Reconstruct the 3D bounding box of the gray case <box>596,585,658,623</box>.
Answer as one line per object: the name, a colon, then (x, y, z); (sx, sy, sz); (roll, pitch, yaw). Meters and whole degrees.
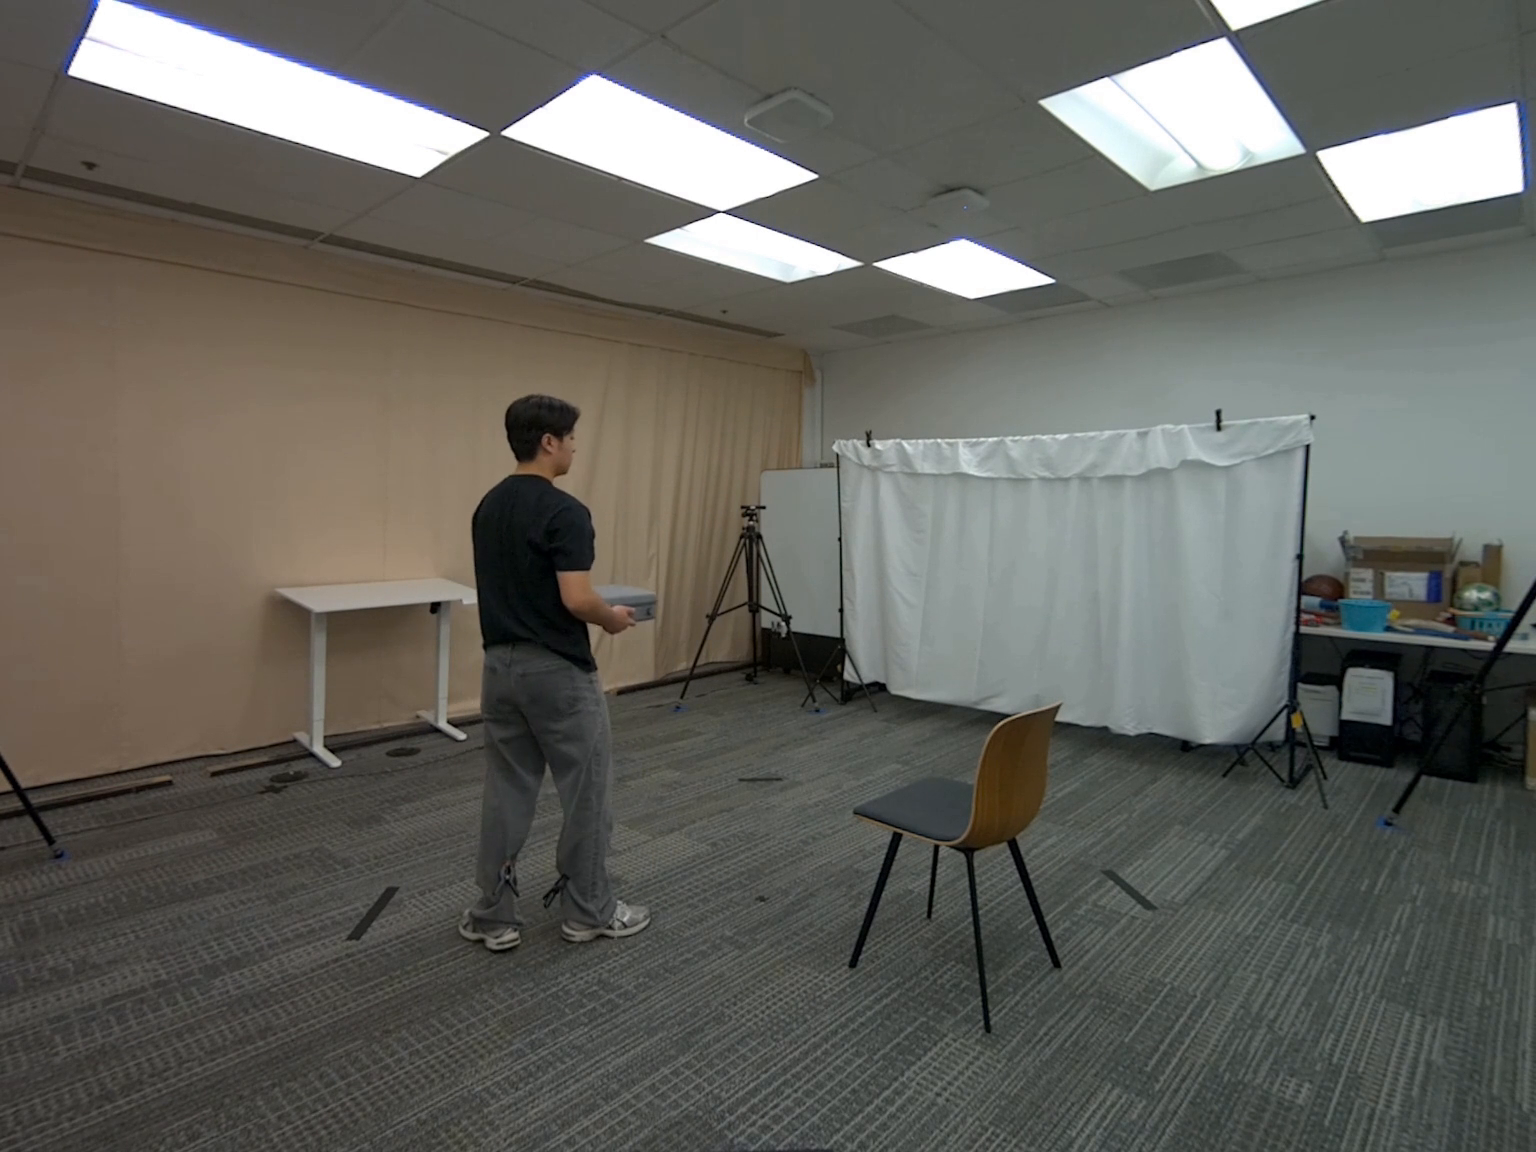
gray case: (-0.543, 0.100, 2.961); (0.272, 0.103, 0.278); (8, 9, 41)
